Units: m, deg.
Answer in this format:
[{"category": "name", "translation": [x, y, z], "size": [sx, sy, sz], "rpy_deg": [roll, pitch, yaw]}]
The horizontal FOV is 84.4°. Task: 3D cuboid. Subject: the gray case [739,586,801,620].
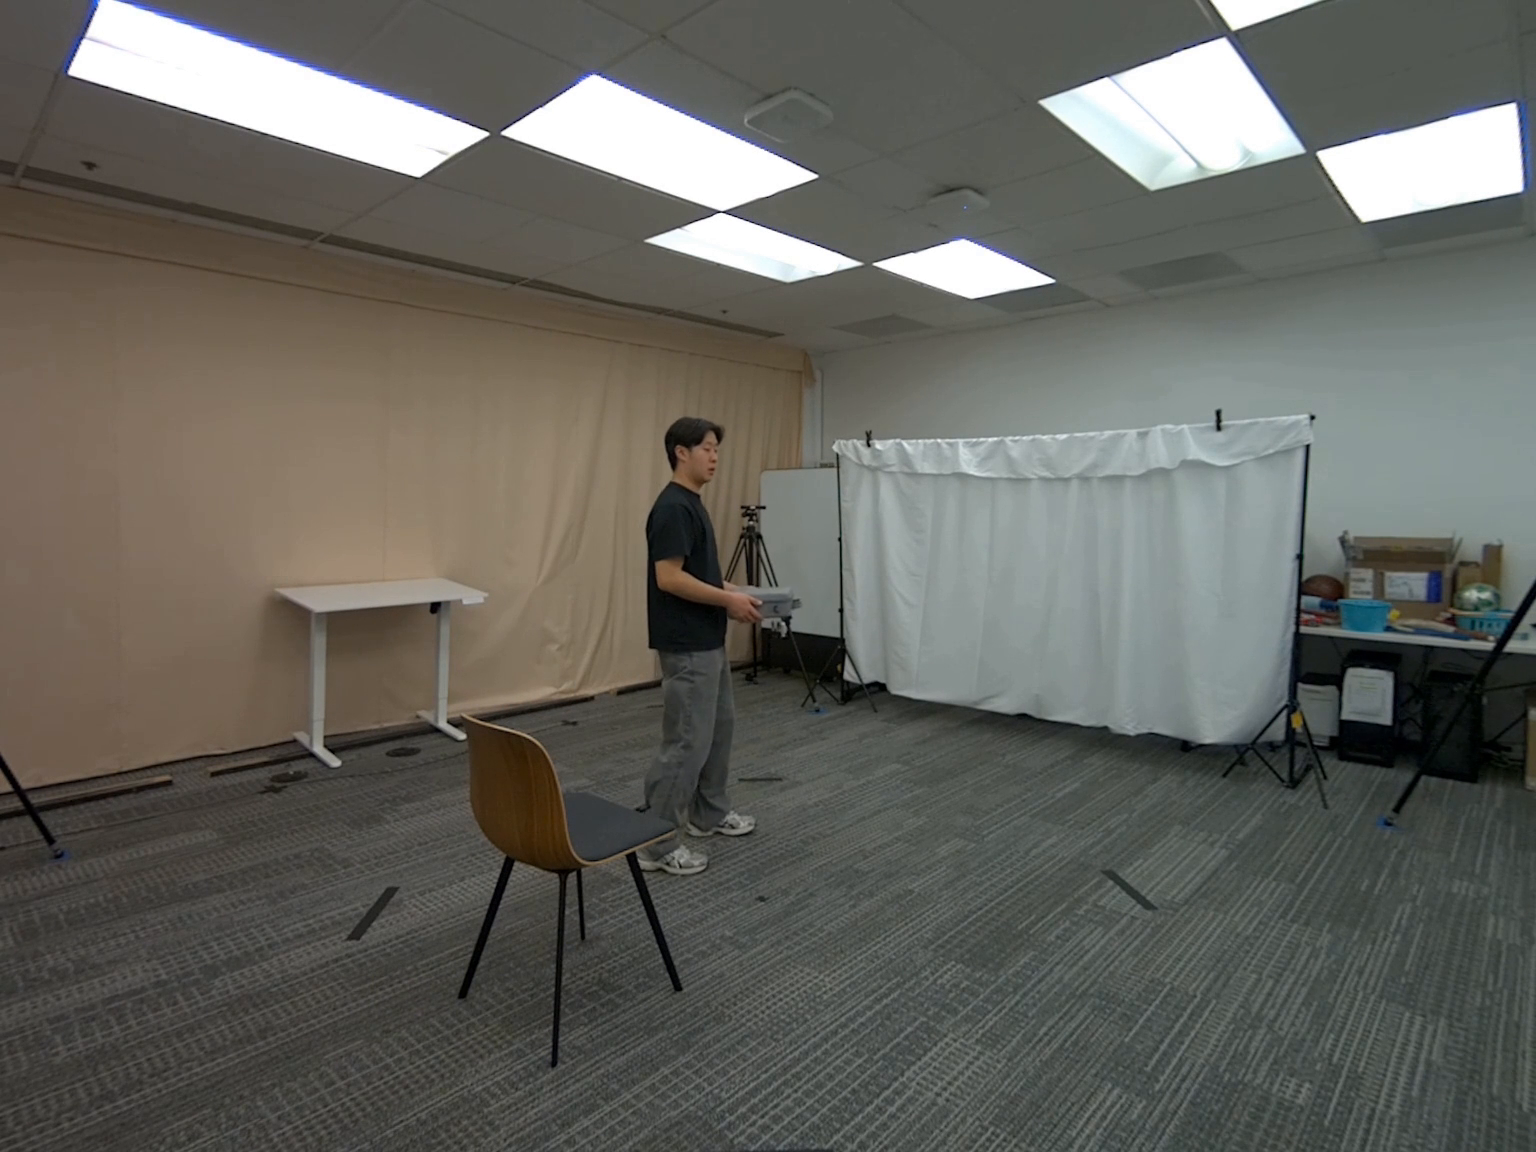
[{"category": "gray case", "translation": [-0.023, 0.102, 3.348], "size": [0.288, 0.103, 0.263], "rpy_deg": [-2, 4, 1]}]
